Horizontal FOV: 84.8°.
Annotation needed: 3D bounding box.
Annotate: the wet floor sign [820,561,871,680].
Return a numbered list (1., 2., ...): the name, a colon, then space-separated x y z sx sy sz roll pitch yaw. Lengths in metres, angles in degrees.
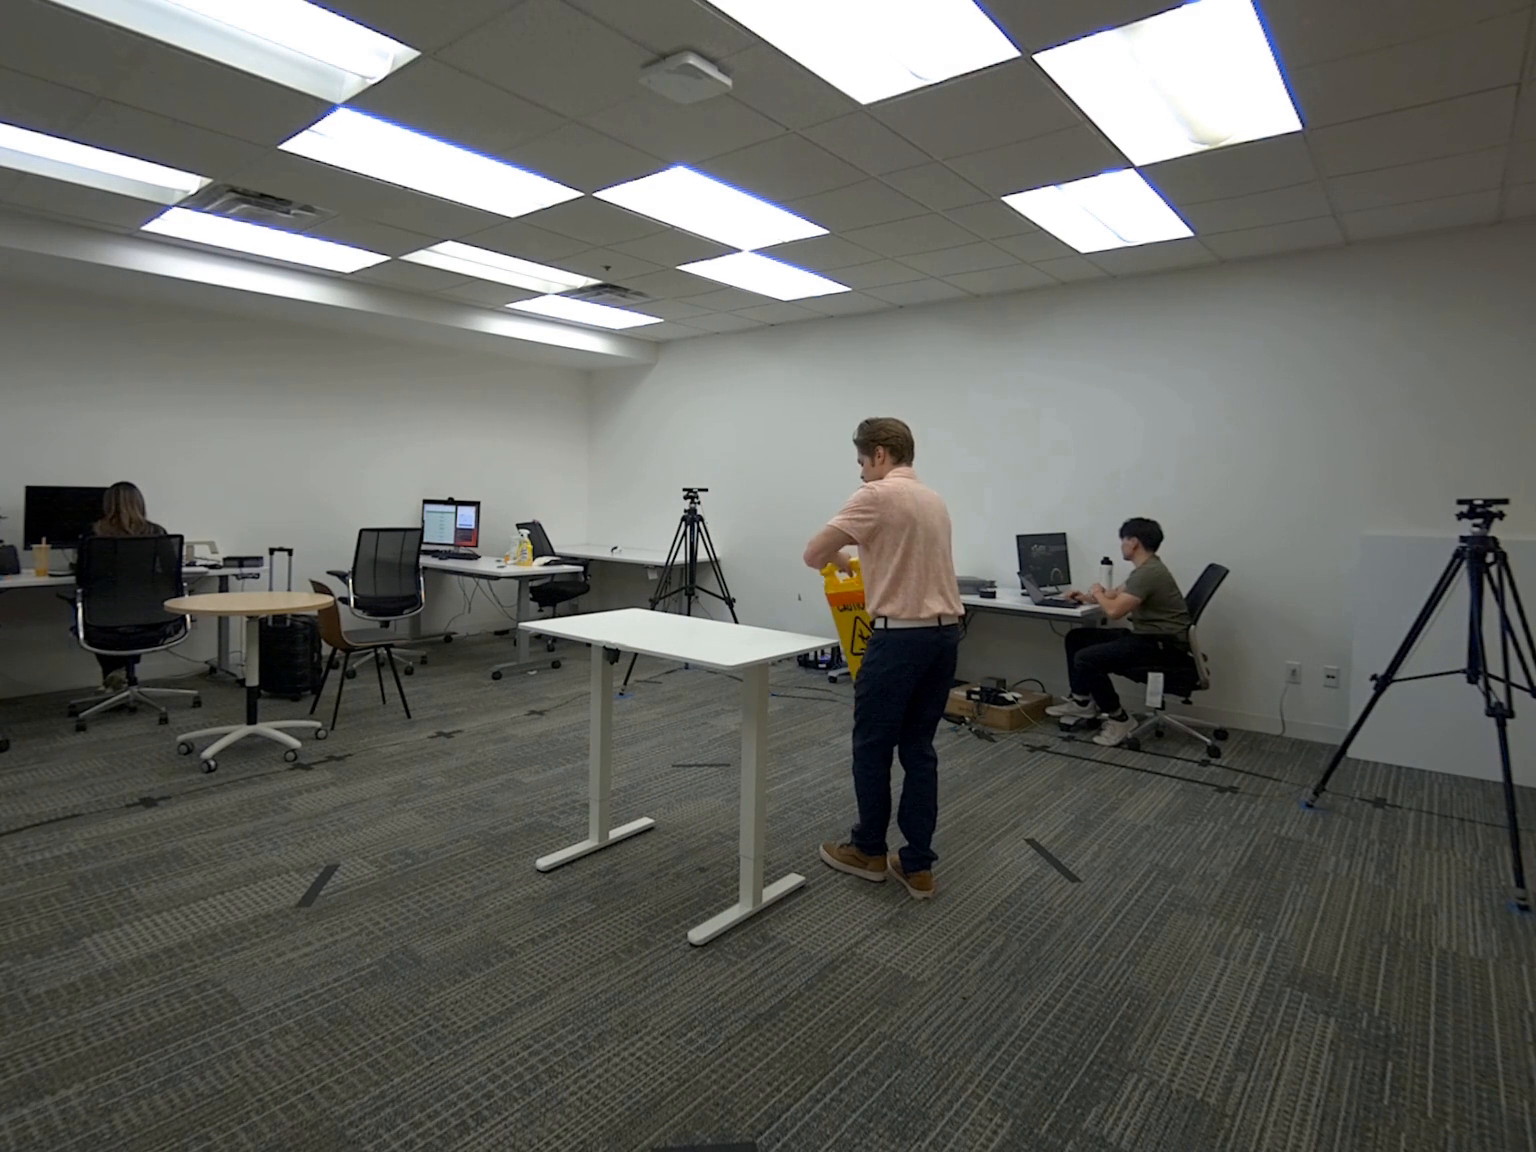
1. wet floor sign: 0.403 0.206 3.261 0.289 0.633 0.288 -12 23 47
